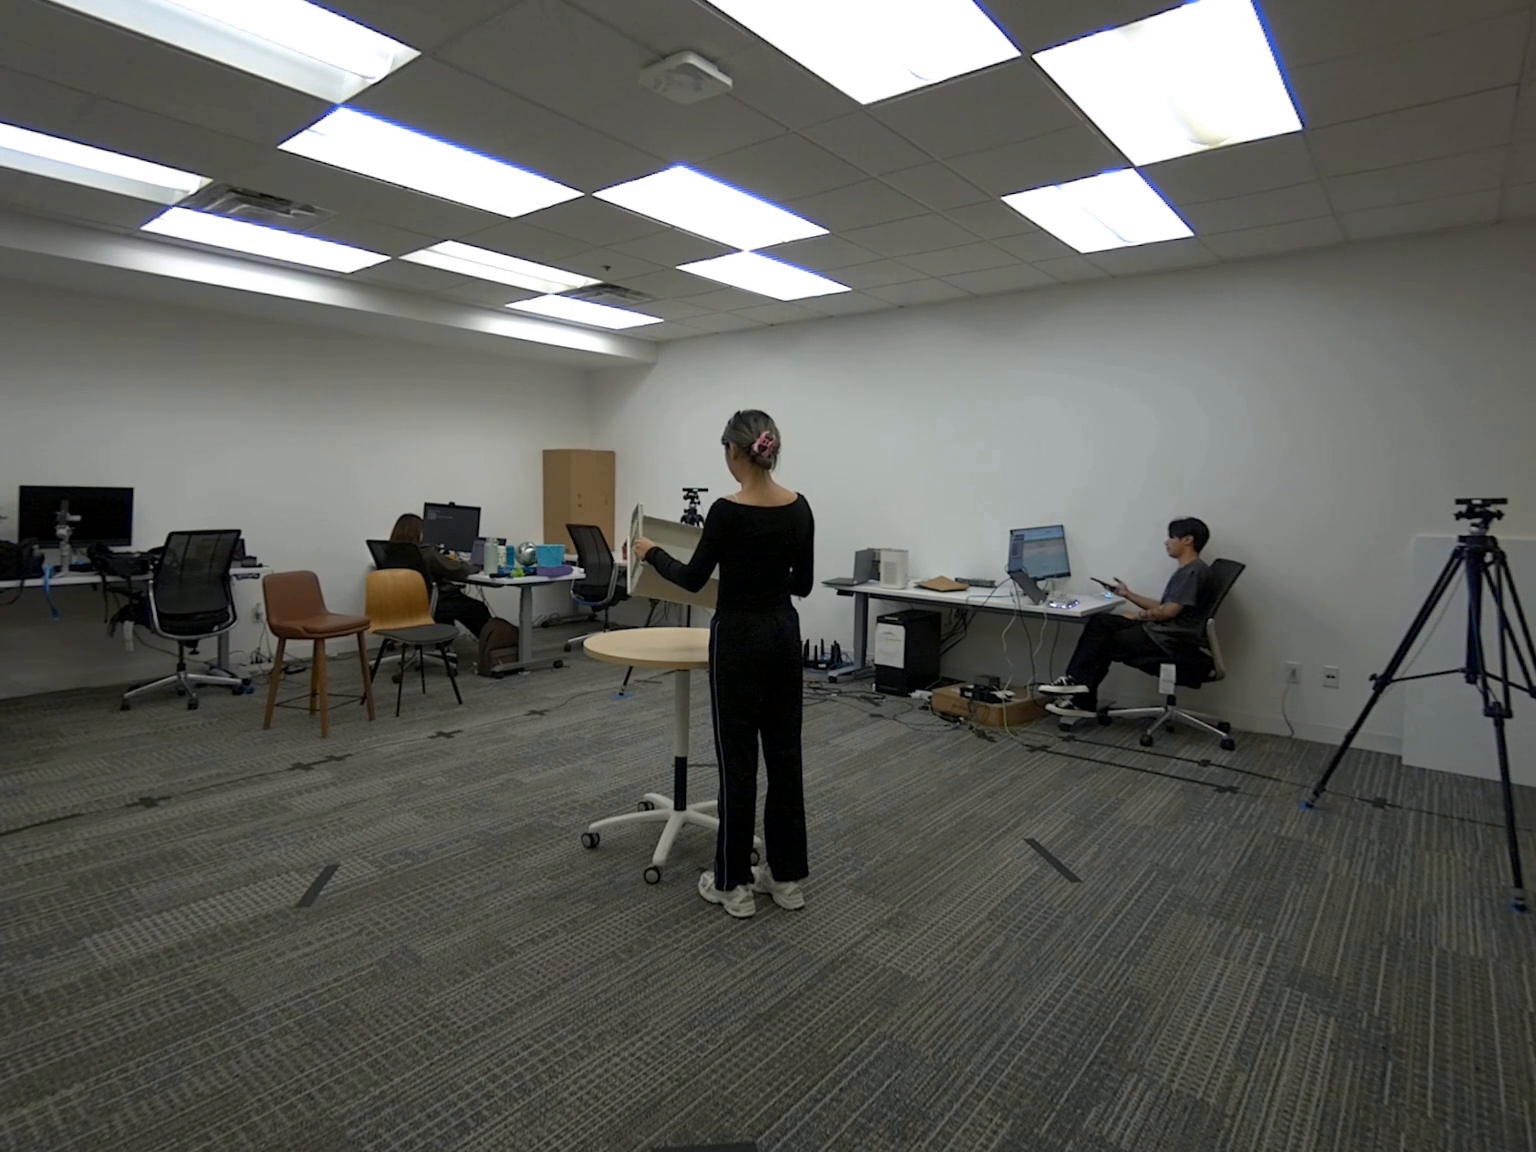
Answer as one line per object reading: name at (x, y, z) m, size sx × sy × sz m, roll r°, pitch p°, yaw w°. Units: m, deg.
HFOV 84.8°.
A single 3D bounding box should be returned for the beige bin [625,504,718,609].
beige bin at (-0.323, -0.076, 3.223) m, size 0.413 × 0.187 × 0.390 m, roll 11°, pitch 41°, yaw -19°
